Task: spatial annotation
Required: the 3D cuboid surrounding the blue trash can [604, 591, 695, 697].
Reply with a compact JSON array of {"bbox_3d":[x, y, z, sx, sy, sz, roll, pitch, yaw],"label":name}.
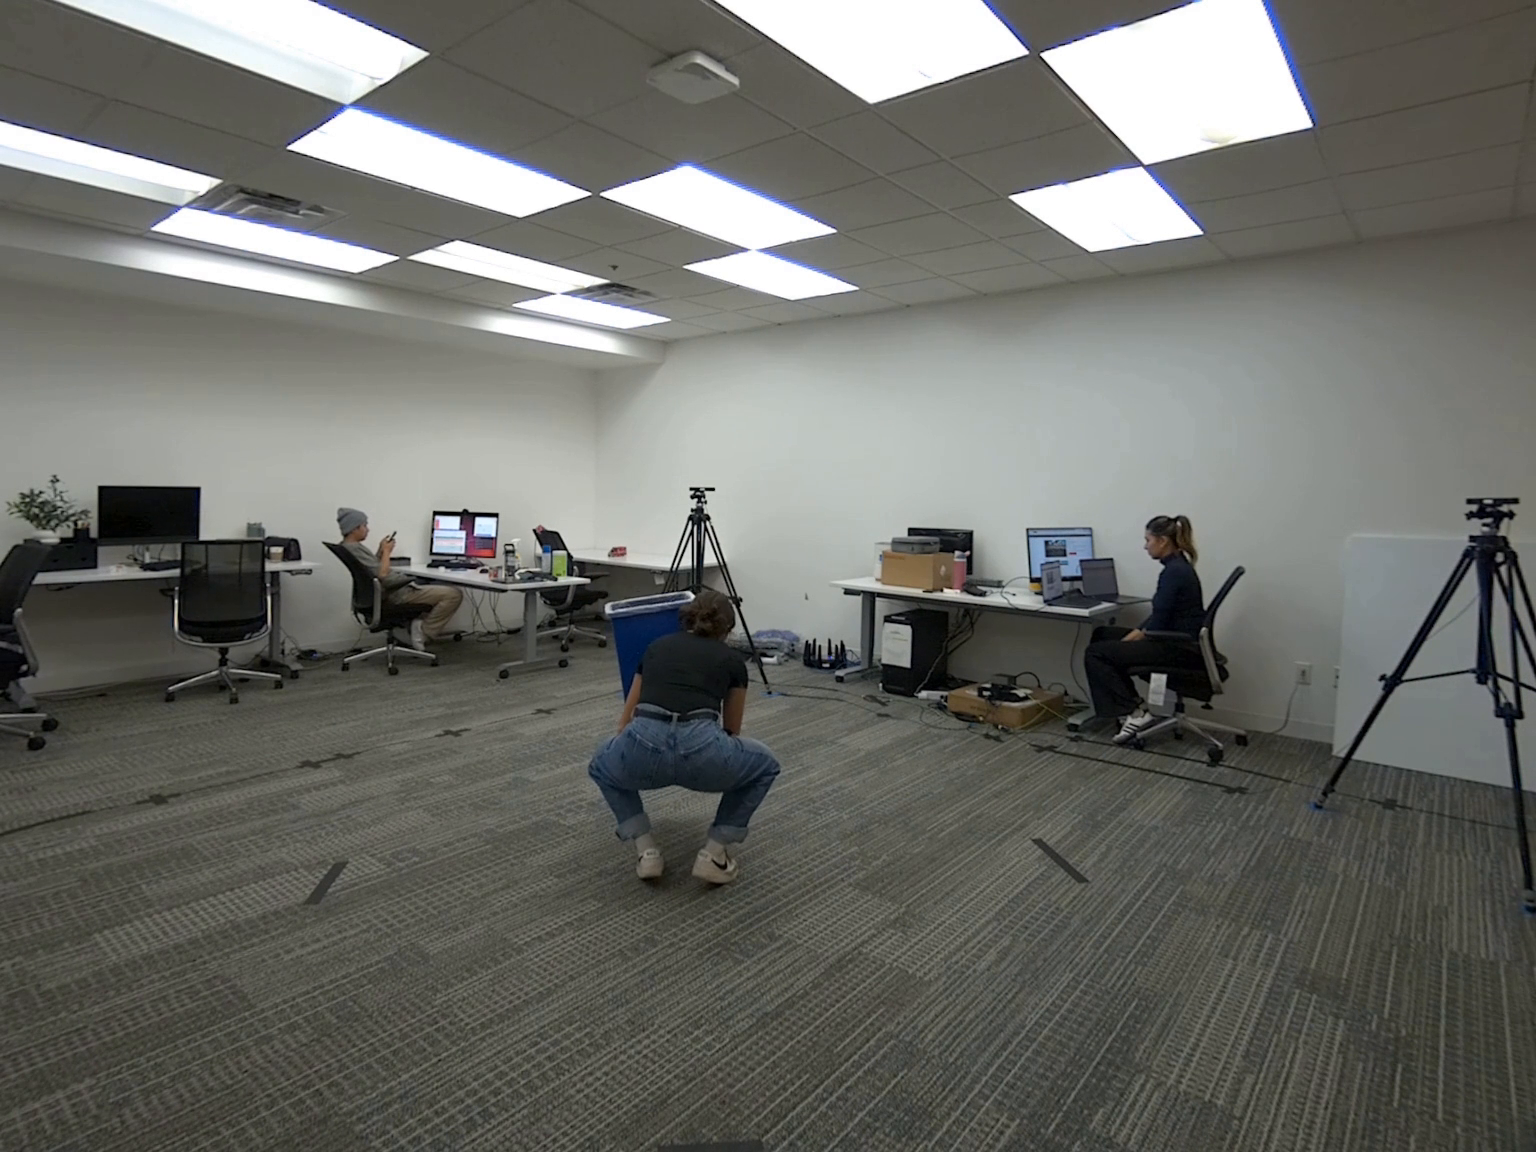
[{"bbox_3d":[-0.452,0.449,3.468,0.371,0.712,0.381,-7,2,-8],"label":"blue trash can"}]
